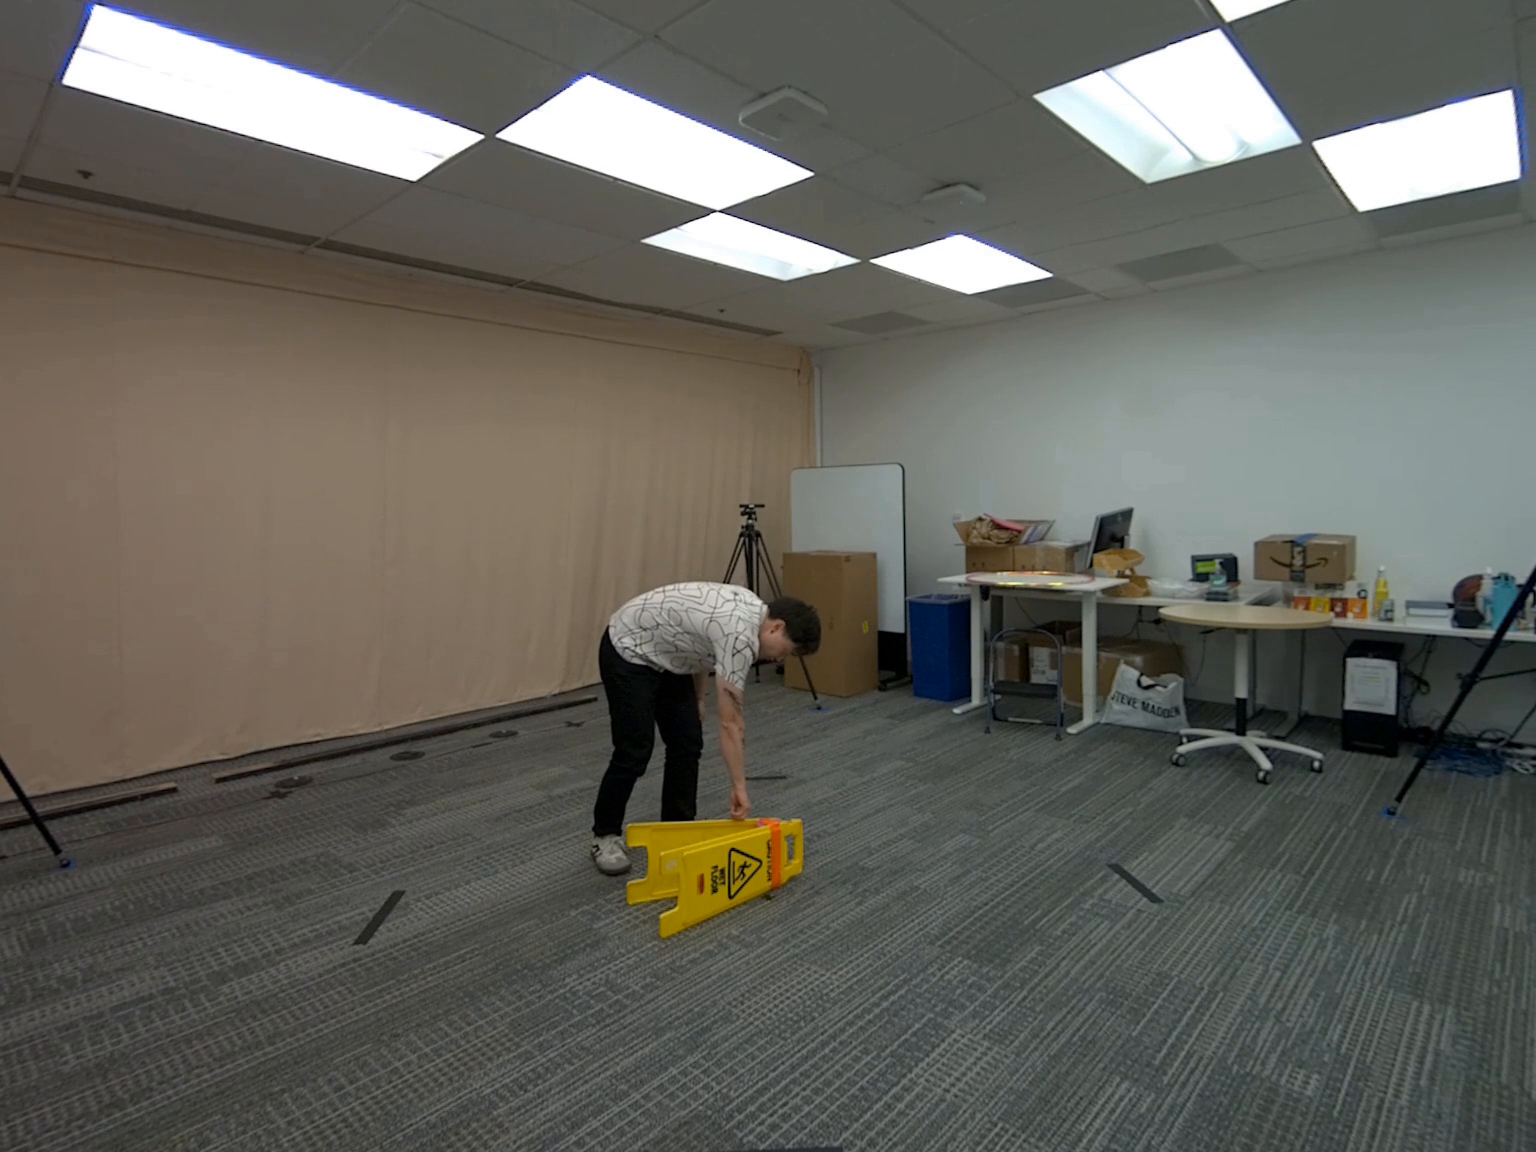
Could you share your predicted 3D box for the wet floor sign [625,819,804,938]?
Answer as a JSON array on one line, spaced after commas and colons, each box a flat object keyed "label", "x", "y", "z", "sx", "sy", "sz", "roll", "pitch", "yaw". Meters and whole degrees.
[{"label": "wet floor sign", "x": -0.146, "y": 1.010, "z": 2.983, "sx": 0.629, "sy": 0.282, "sz": 0.298, "roll": -2, "pitch": 4, "yaw": -30}]
